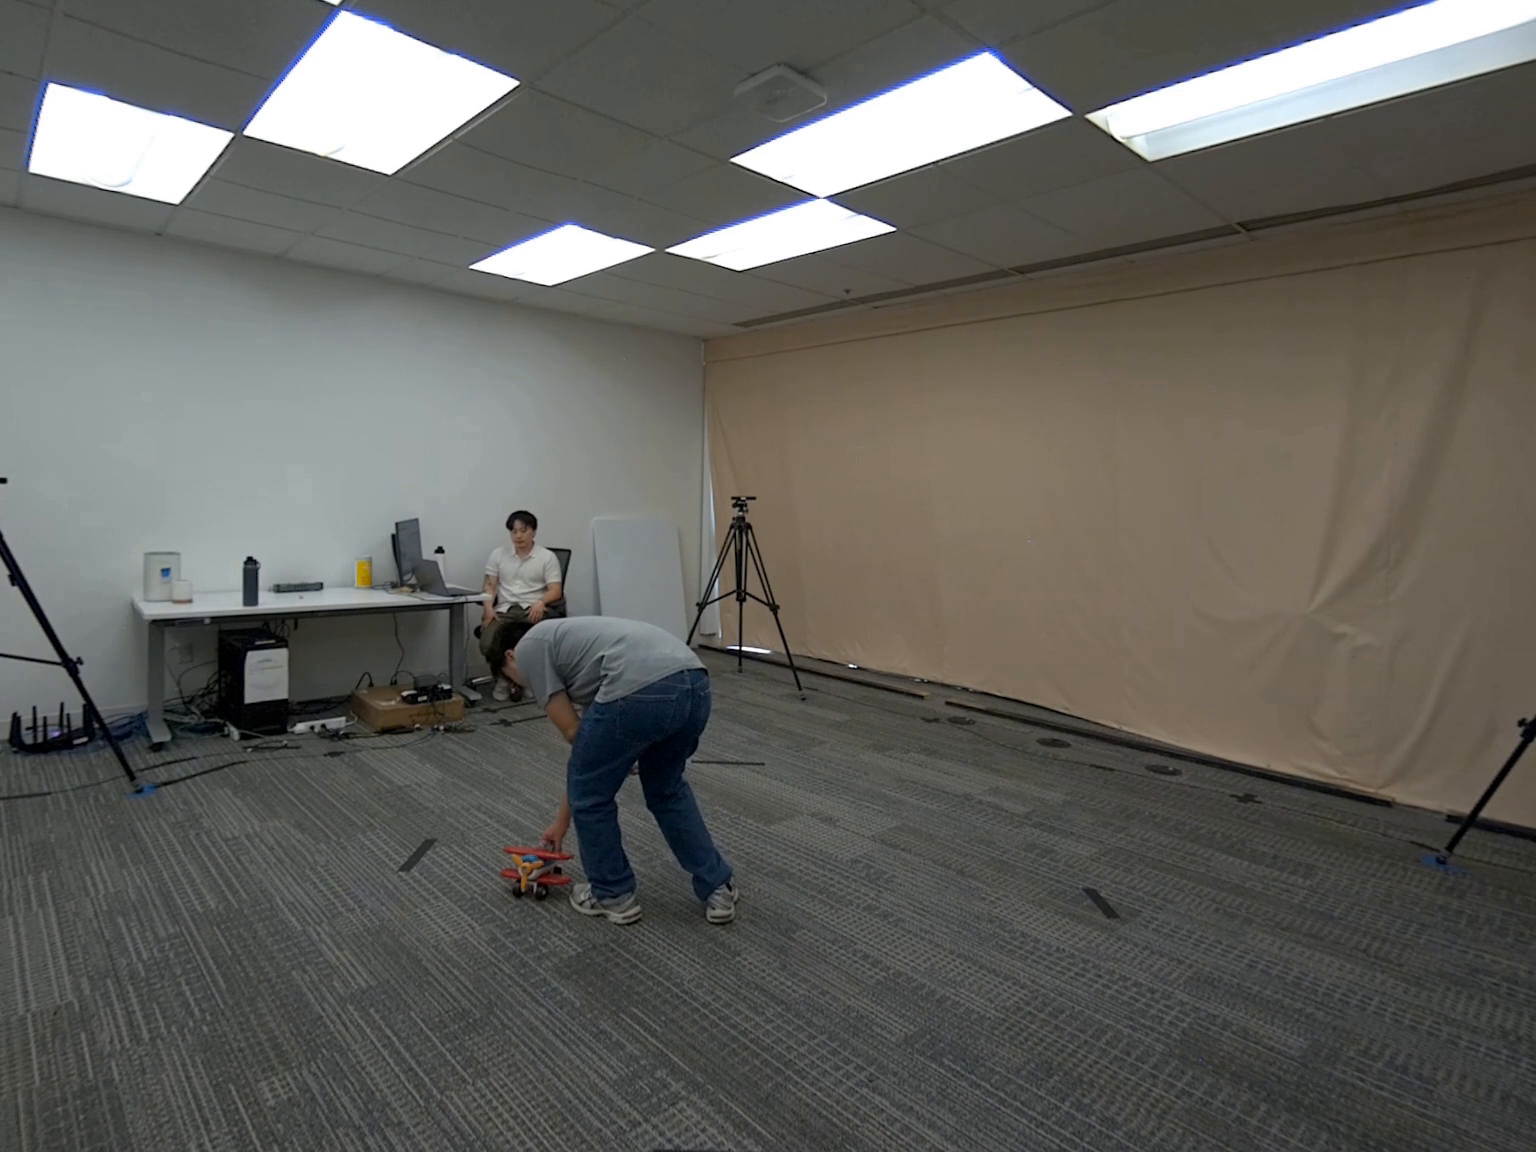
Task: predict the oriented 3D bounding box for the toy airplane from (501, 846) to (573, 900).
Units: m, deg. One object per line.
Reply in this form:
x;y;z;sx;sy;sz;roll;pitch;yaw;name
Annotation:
-0.823;1.024;2.980;0.248;0.156;0.263;-1;6;-15;toy airplane
